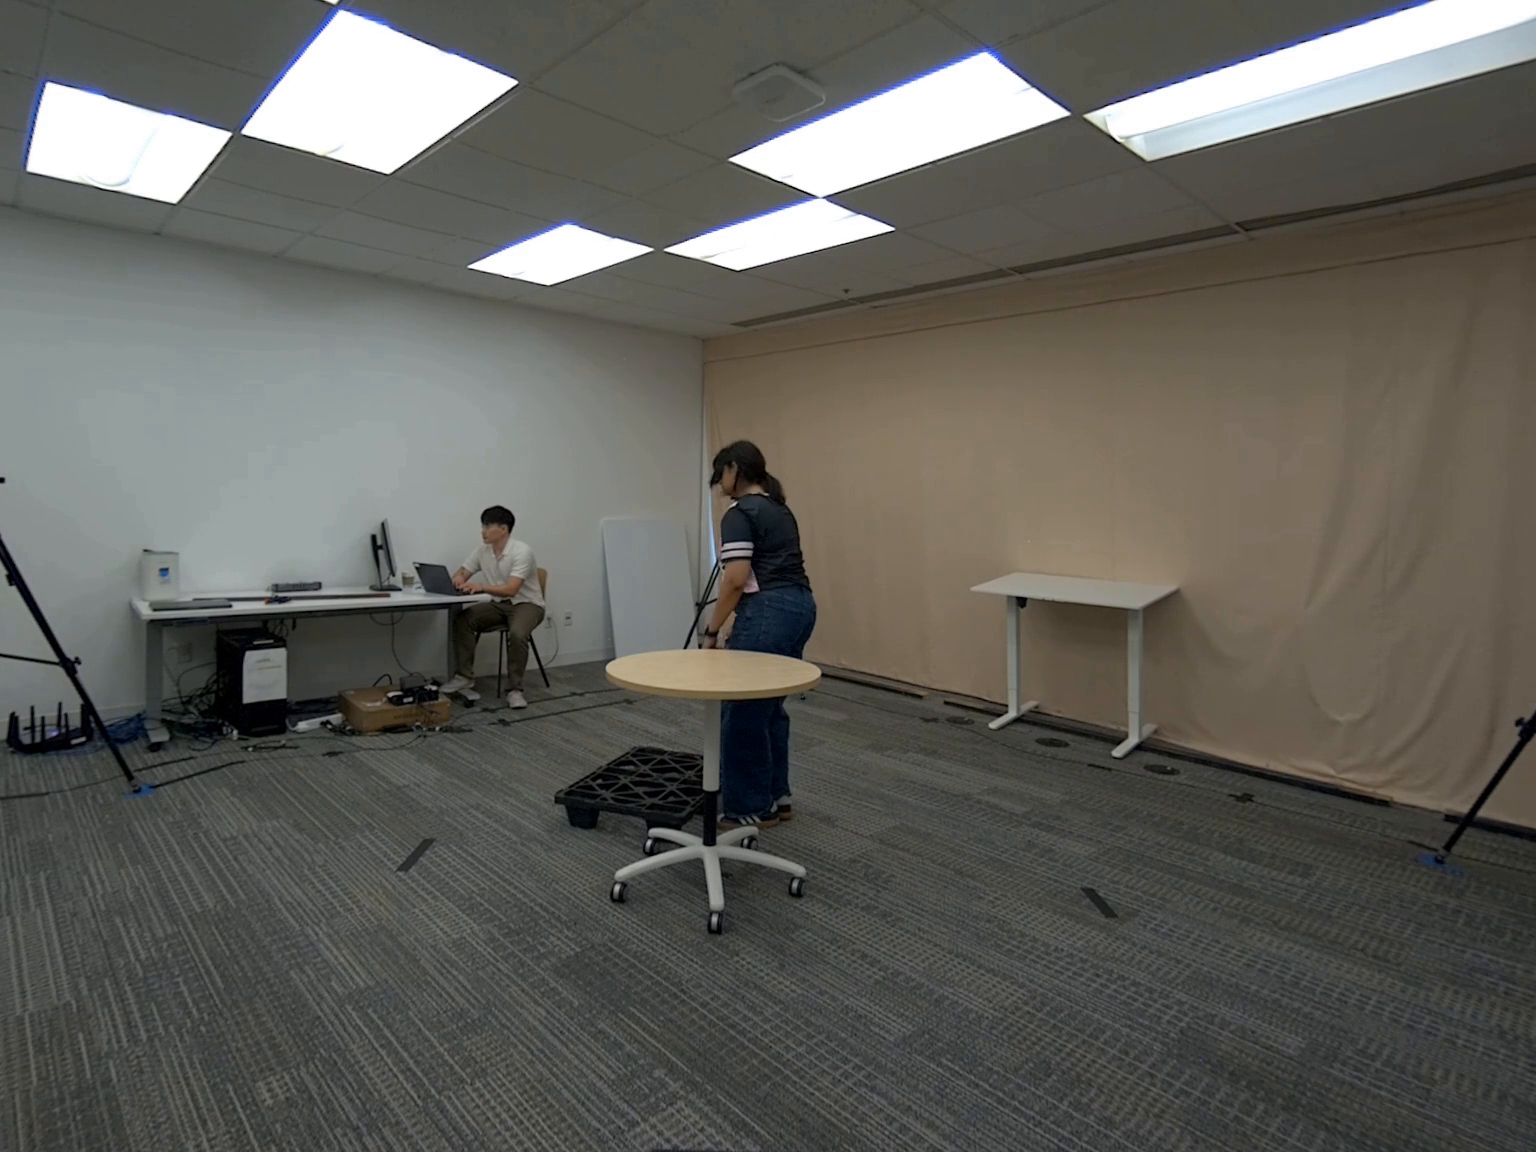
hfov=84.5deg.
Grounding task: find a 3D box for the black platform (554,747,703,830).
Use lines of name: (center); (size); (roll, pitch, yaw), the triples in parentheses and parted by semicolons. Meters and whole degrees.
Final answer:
black platform: (-0.500, 0.968, 3.794); (0.614, 0.143, 0.796); (3, 6, 18)
